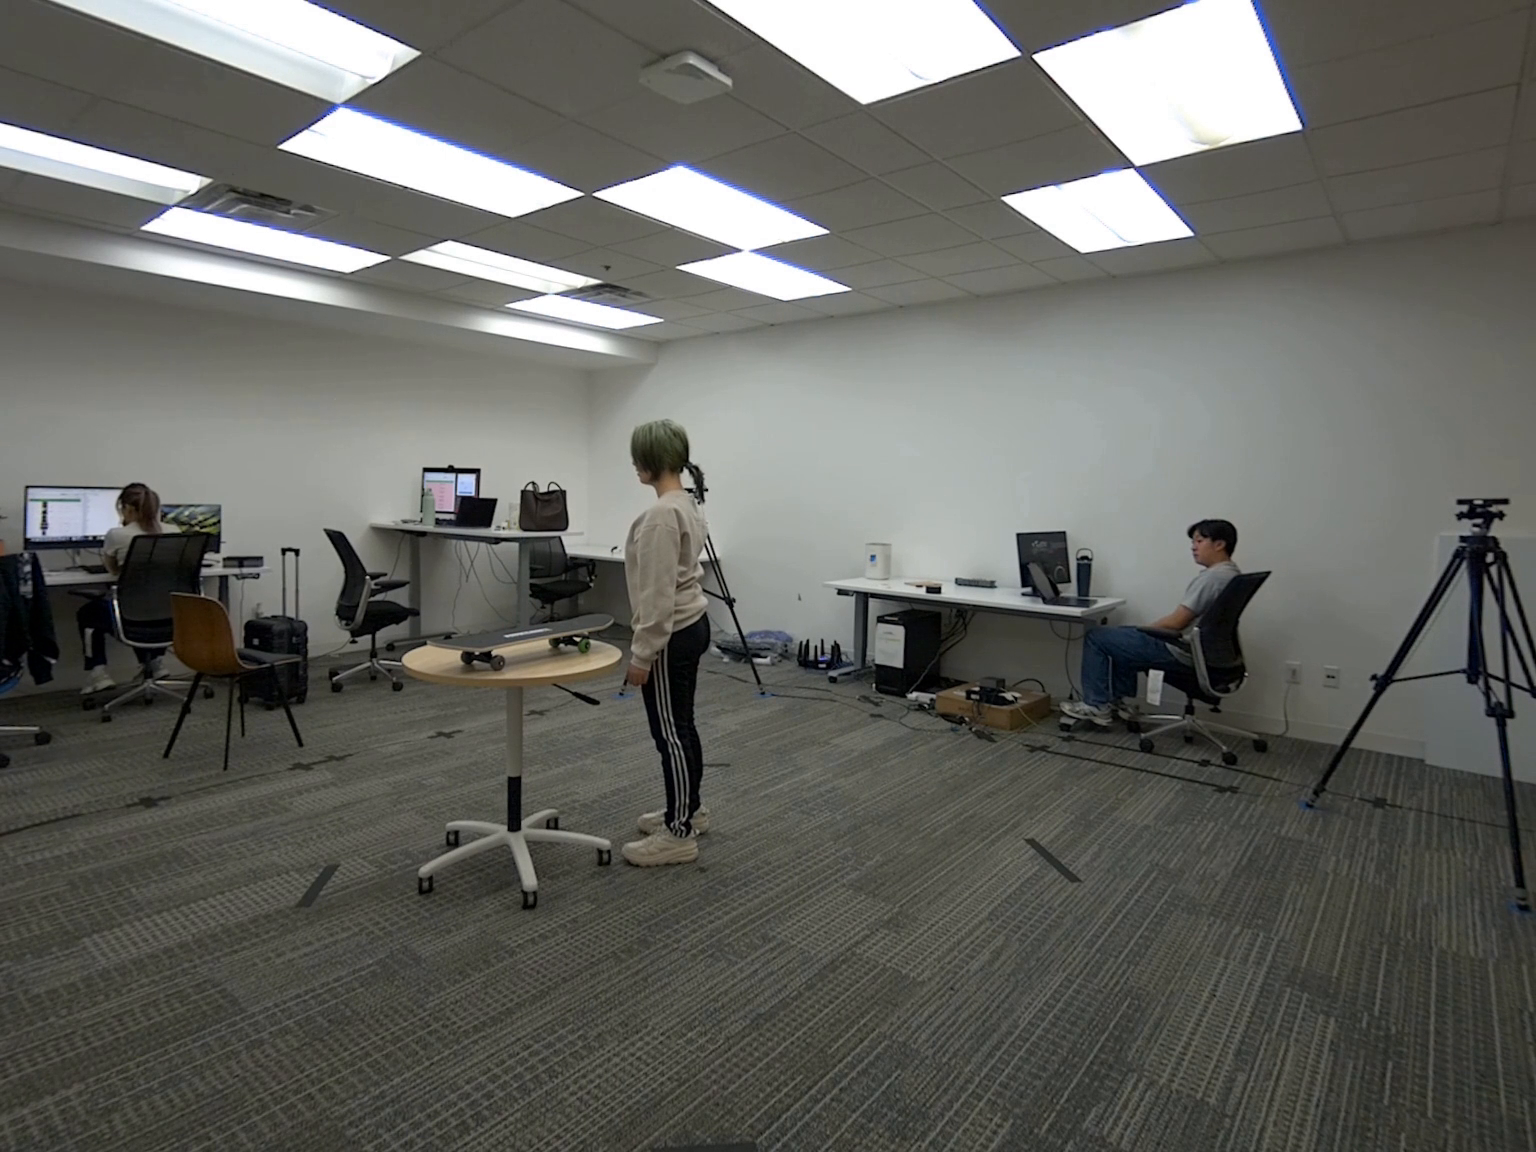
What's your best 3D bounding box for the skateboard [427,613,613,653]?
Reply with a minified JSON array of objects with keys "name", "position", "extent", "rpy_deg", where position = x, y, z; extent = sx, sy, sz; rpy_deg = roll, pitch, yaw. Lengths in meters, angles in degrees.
[{"name":"skateboard","position":[-0.865,0.237,3.007],"extent":[0.200,0.110,0.764],"rpy_deg":[7,9,35]}]
